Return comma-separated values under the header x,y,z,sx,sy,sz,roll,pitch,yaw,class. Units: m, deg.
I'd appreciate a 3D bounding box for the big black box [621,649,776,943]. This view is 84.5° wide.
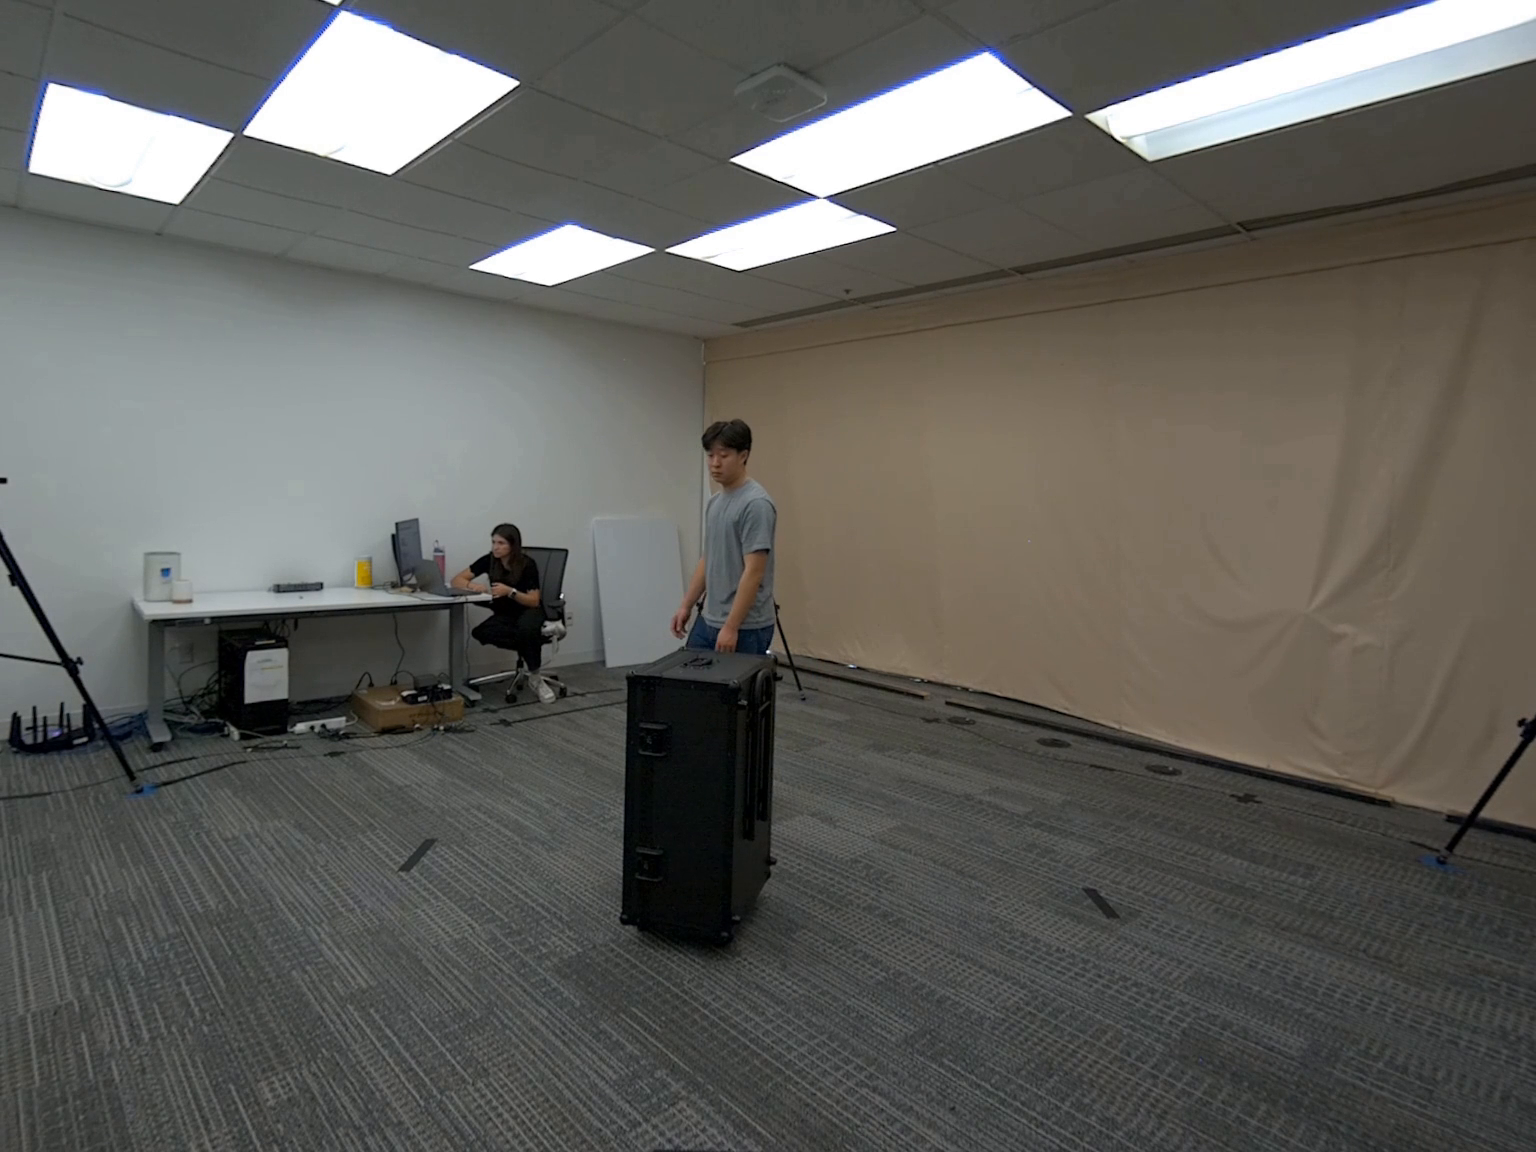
x,y,z,sx,sy,sz,roll,pitch,yaw,class
-0.211,0.713,2.752,0.402,0.859,0.515,3,4,16,big black box
